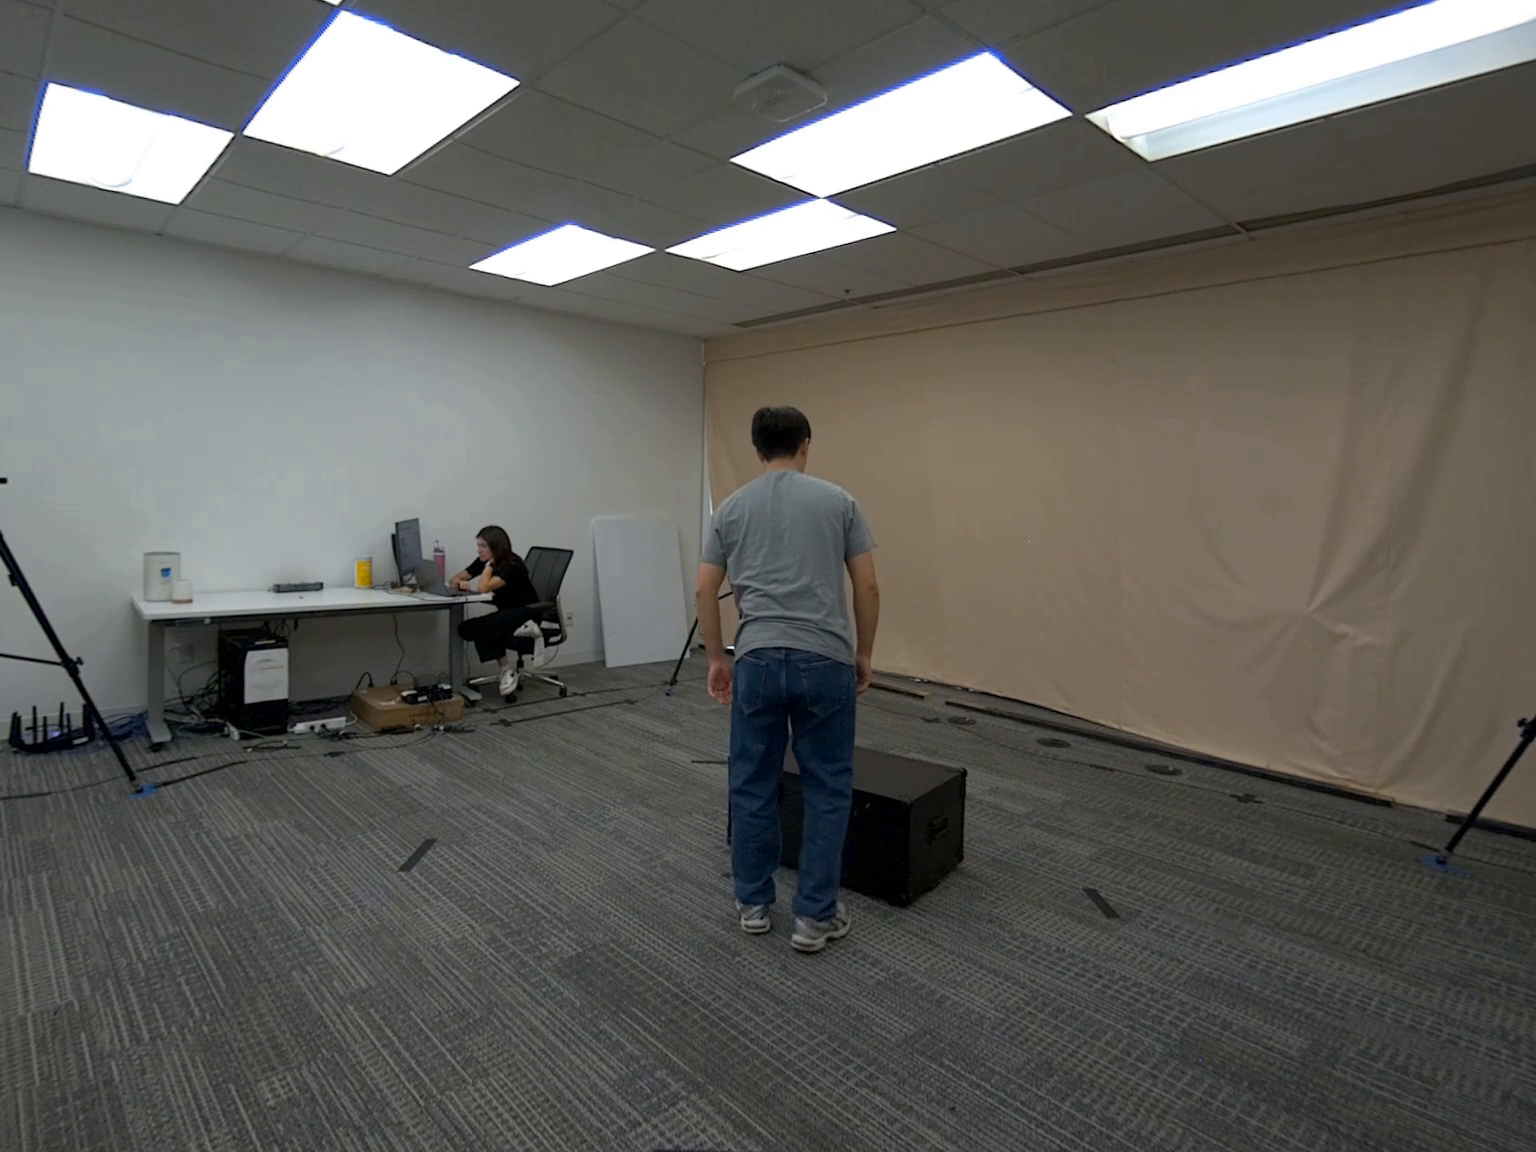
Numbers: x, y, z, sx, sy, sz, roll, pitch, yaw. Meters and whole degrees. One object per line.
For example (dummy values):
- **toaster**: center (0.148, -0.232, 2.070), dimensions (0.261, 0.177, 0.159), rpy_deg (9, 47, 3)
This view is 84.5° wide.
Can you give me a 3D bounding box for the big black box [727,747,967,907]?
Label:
- **big black box**: center (0.264, 0.909, 3.290), dimensions (0.883, 0.395, 0.510), rpy_deg (5, 6, 37)
